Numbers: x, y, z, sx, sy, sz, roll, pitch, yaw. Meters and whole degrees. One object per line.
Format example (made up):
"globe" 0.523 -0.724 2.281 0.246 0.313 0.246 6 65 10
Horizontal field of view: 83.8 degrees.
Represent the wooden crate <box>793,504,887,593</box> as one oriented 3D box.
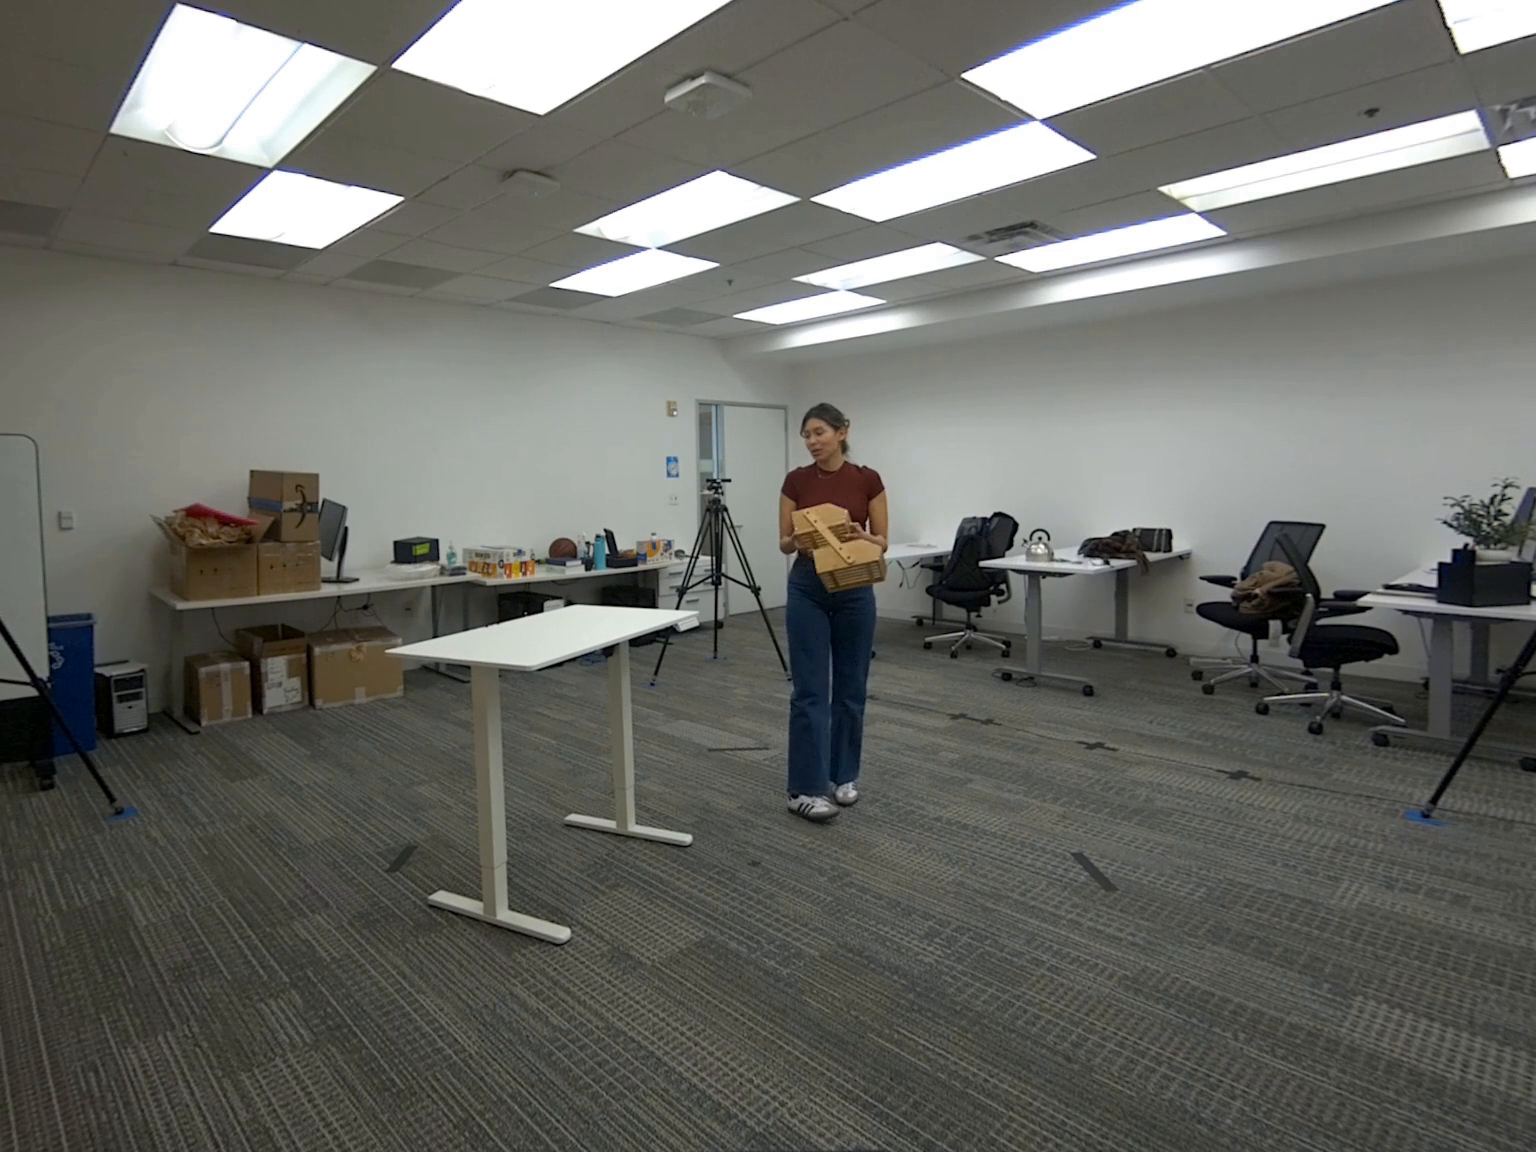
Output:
"wooden crate" 0.272 -0.121 3.334 0.304 0.279 0.315 -14 -19 9
